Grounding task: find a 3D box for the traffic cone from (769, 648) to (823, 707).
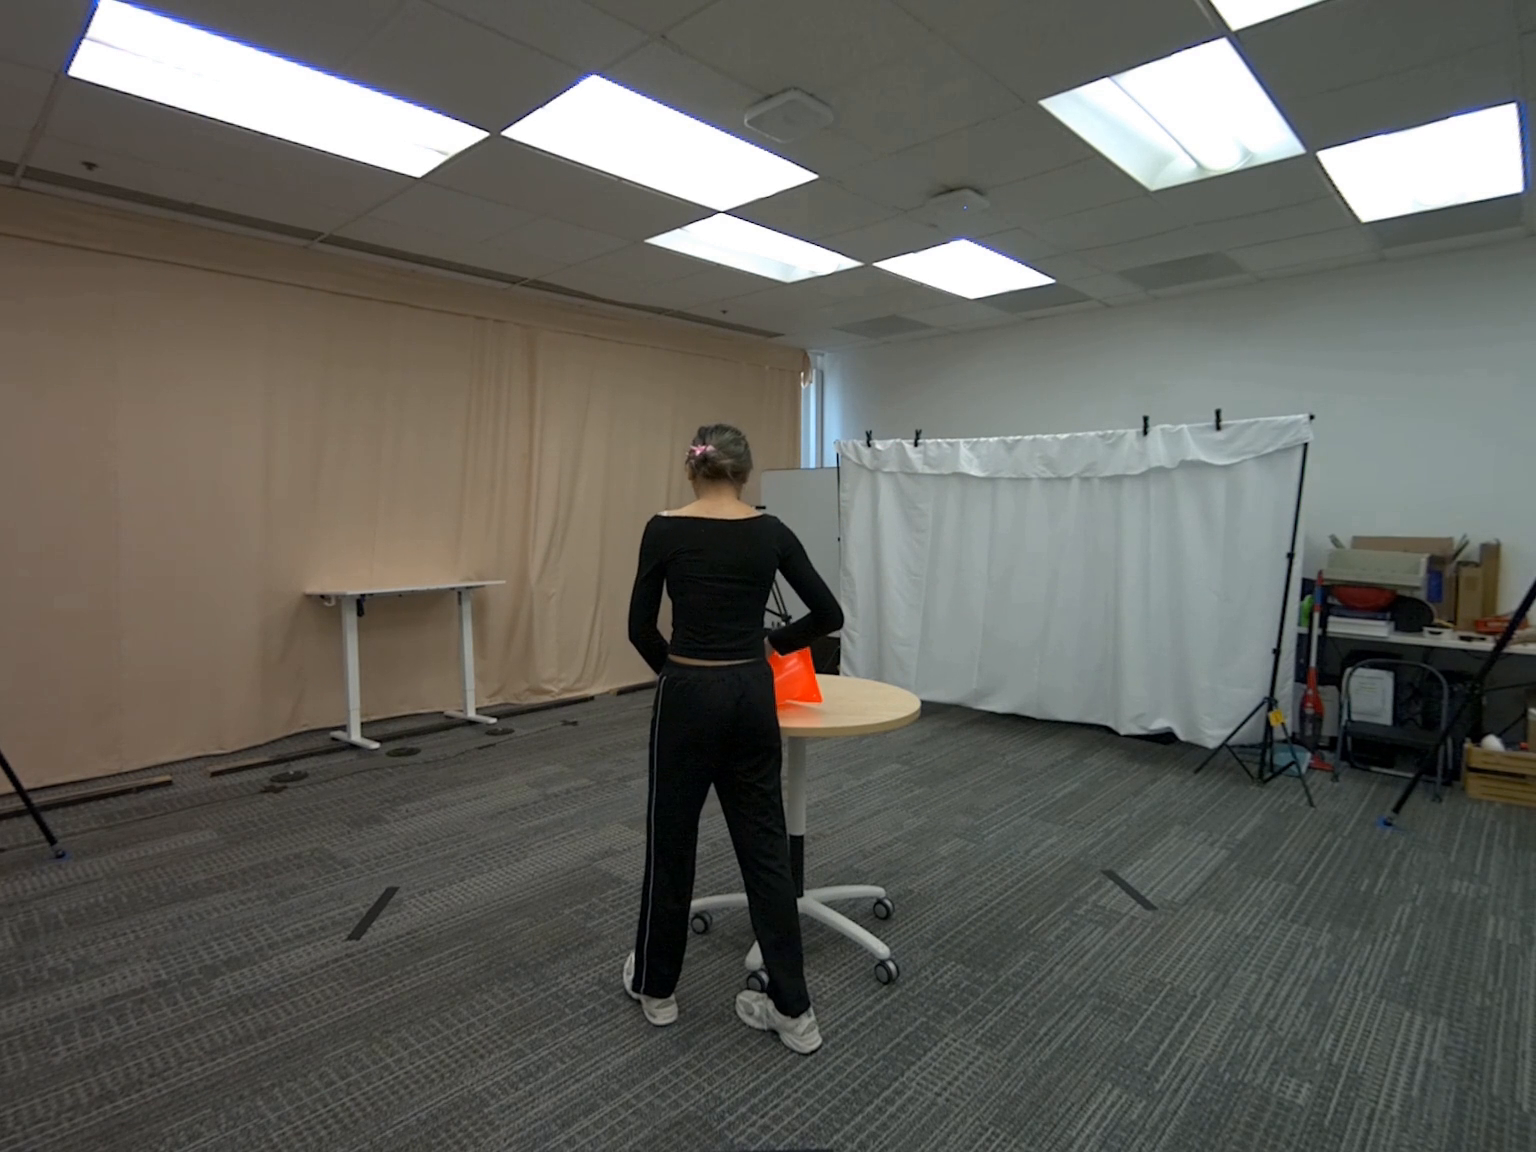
[{"bbox_3d":[-0.059,0.349,2.467,0.375,0.202,0.210,-21,8,-33],"label":"traffic cone"}]
